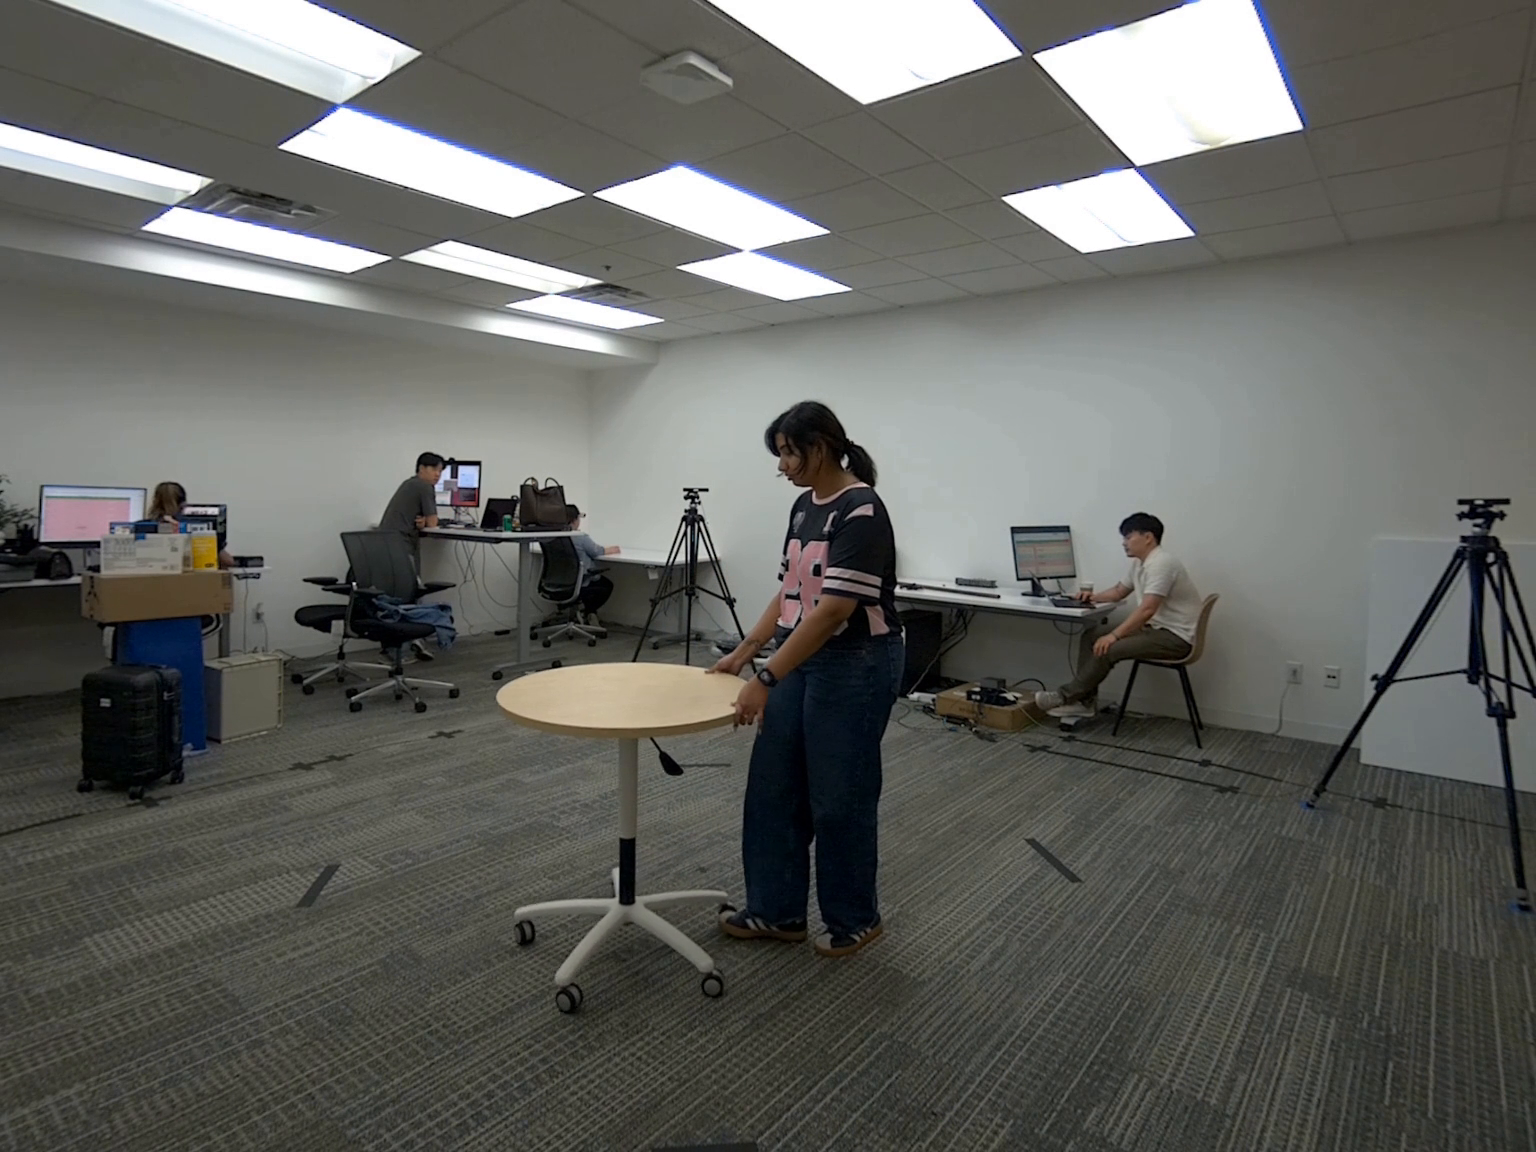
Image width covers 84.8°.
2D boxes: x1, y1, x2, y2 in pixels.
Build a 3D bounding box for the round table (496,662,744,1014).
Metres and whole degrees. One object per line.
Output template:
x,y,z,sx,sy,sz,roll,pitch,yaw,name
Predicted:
-0.433,0.731,2.553,0.763,0.791,0.768,1,5,-2,round table
